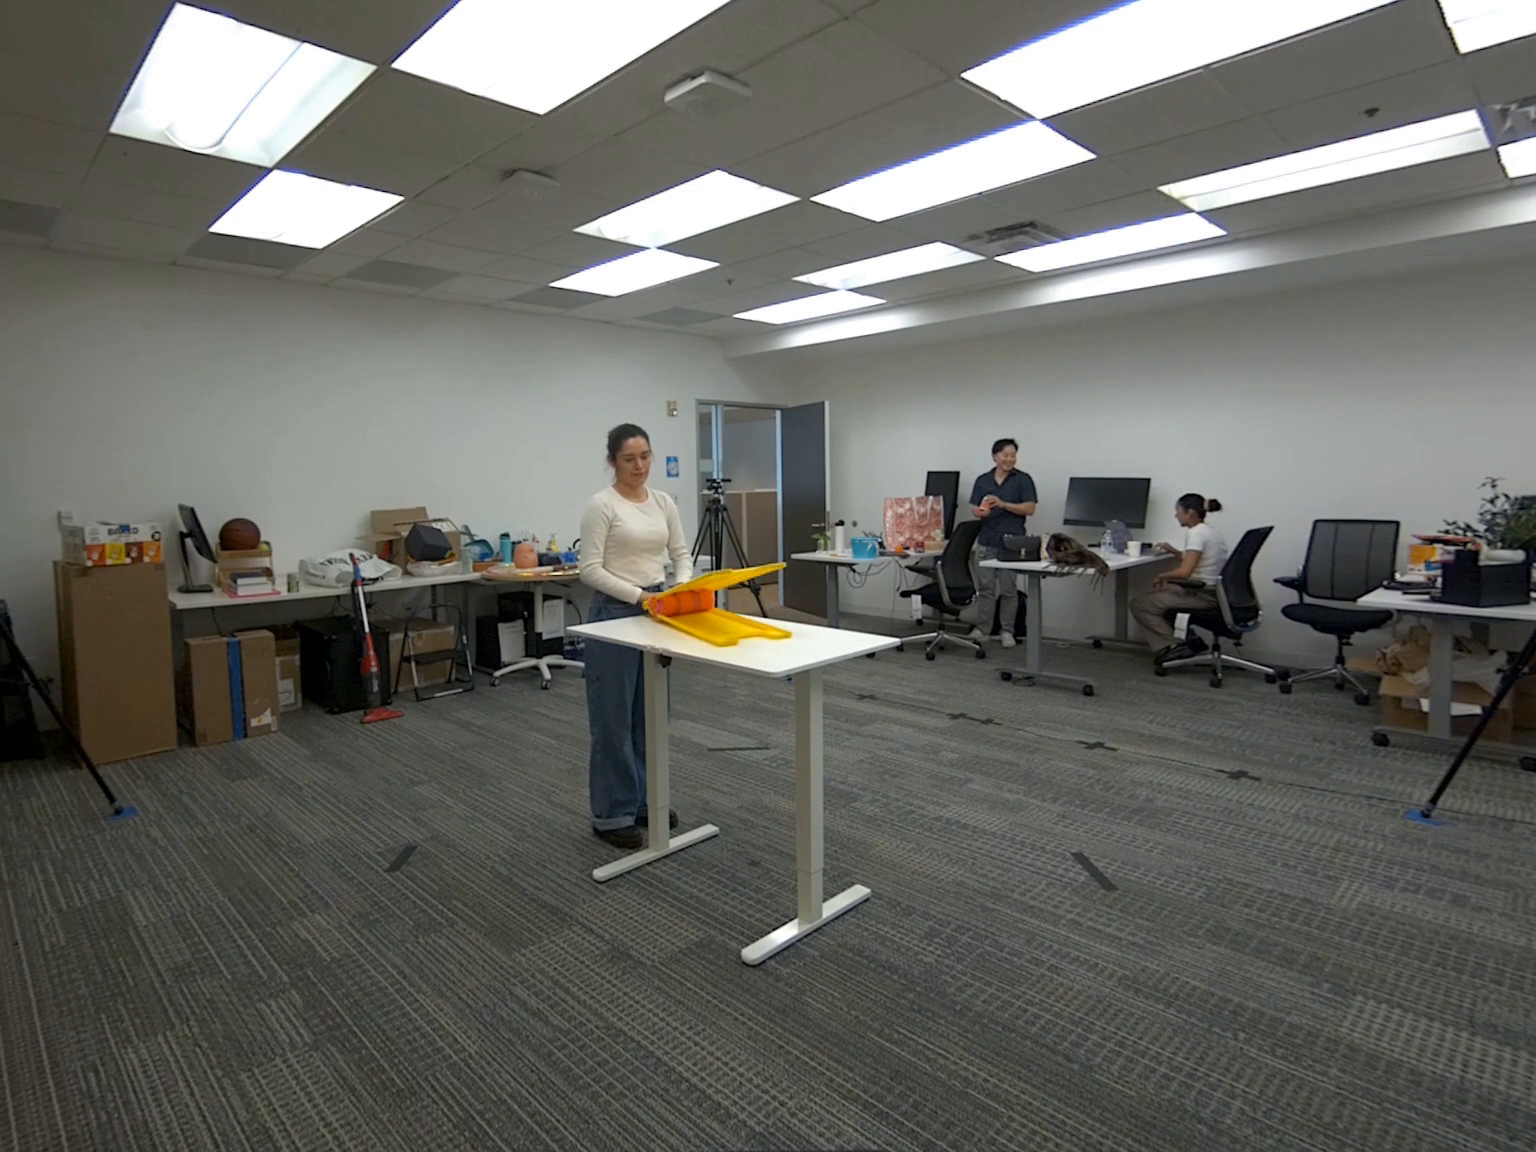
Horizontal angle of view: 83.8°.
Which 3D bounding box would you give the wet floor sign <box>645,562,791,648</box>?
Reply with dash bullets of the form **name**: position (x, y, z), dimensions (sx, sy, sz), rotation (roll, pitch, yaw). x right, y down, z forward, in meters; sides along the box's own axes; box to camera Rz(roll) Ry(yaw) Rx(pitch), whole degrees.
- **wet floor sign**: position (-0.218, 0.105, 2.991), dimensions (0.276, 0.290, 0.661), rotation (-5, 2, -31)
